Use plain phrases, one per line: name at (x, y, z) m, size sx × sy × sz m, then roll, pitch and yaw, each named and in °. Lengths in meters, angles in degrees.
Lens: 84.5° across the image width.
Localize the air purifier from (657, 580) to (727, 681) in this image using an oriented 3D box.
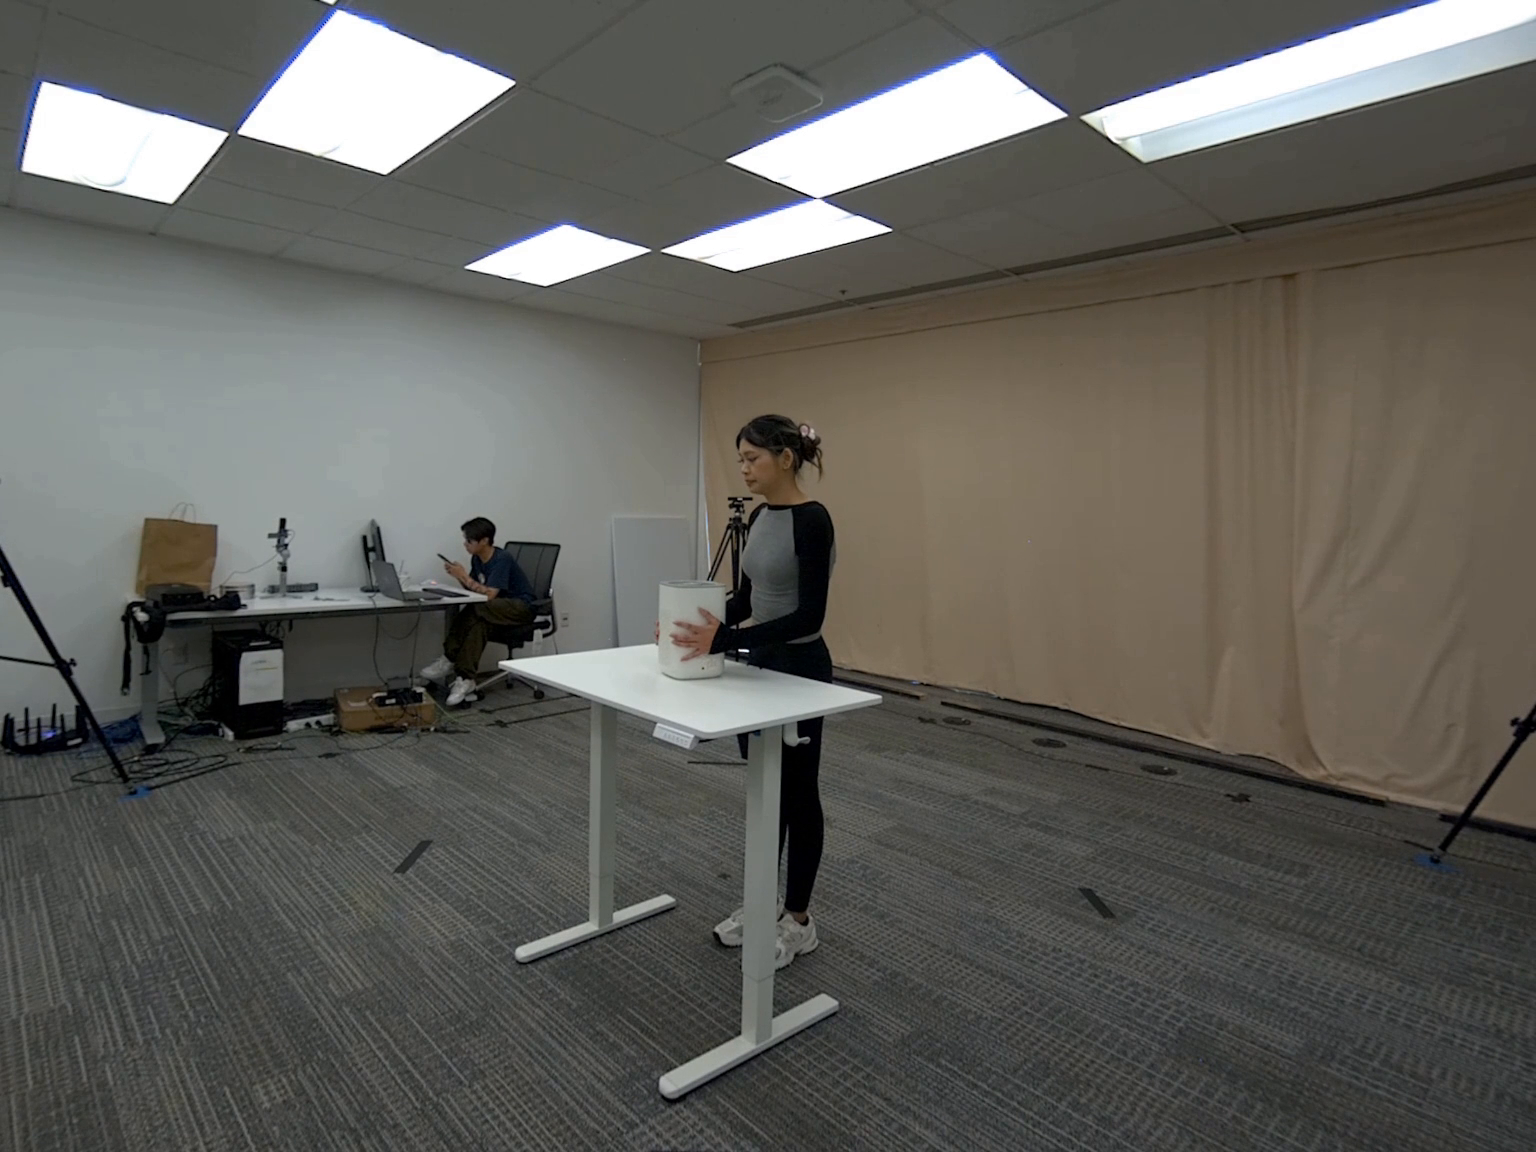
air purifier at (-0.227, 0.154, 2.423) m, size 0.167 × 0.265 × 0.175 m, roll 0°, pitch 1°, yaw -29°
